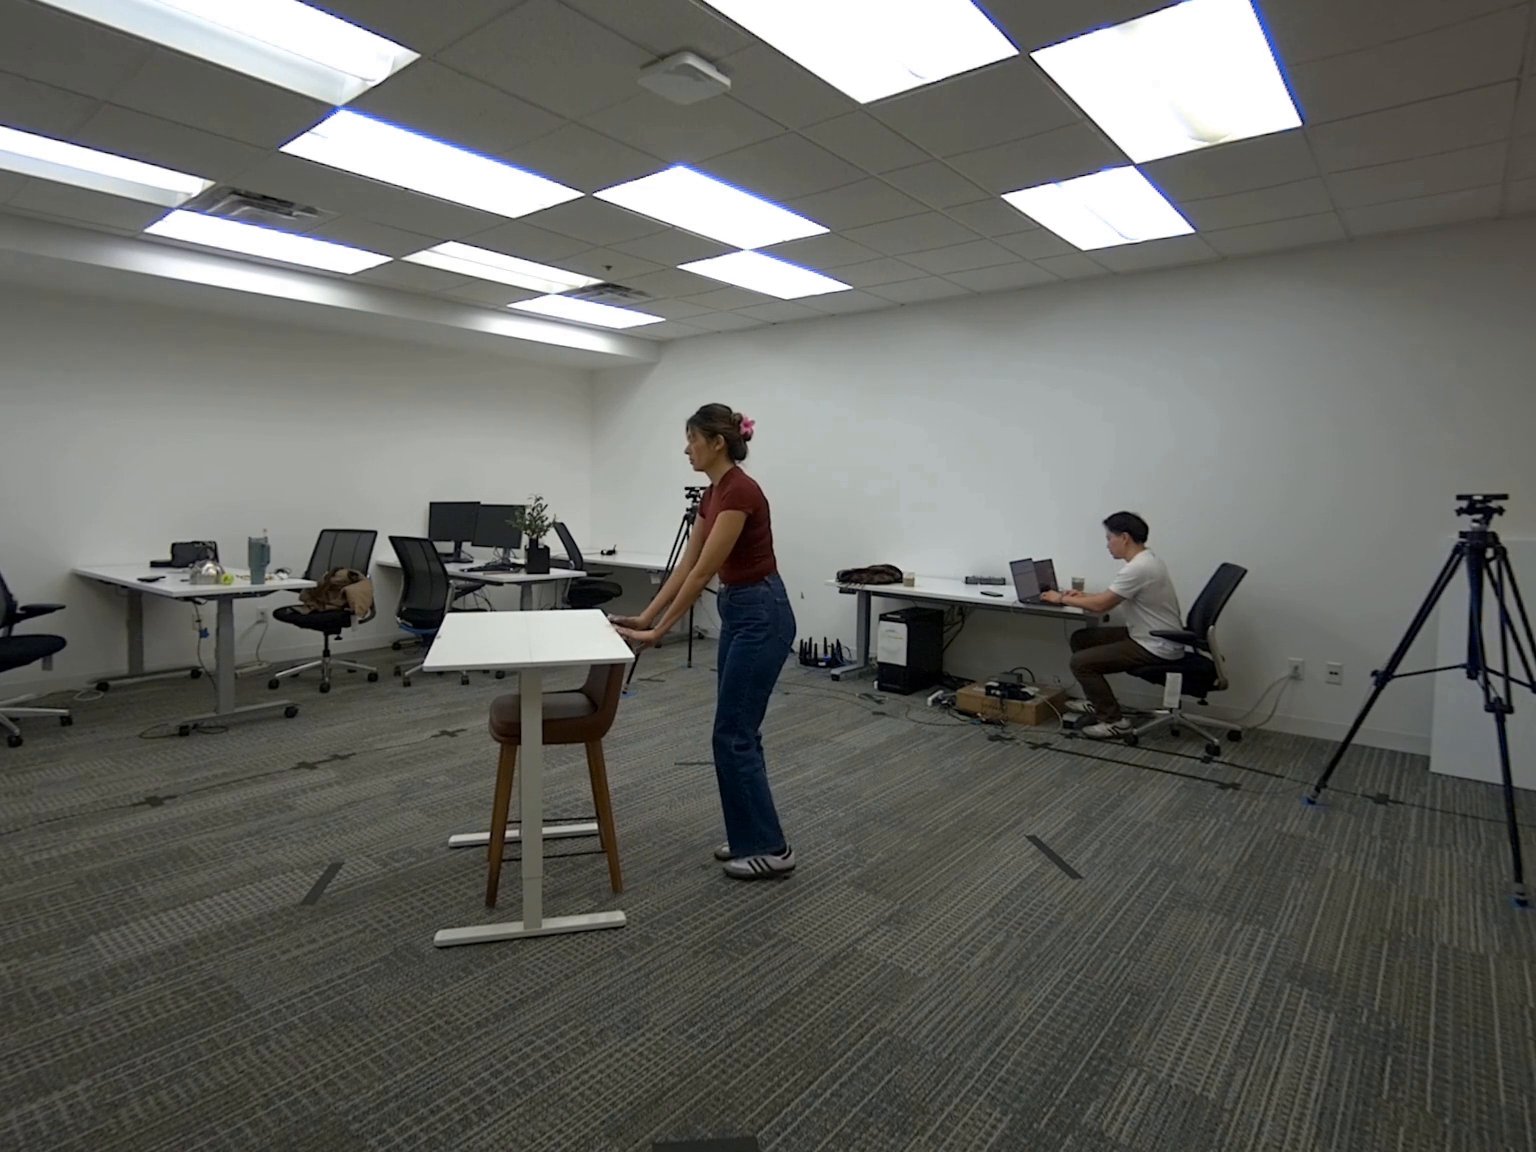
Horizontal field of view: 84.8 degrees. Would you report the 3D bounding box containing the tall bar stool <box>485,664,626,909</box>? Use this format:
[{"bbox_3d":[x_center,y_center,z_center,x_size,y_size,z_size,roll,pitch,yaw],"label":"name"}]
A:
[{"bbox_3d":[-0.761,0.638,3.018,0.461,0.889,0.463,1,1,-13],"label":"tall bar stool"}]
